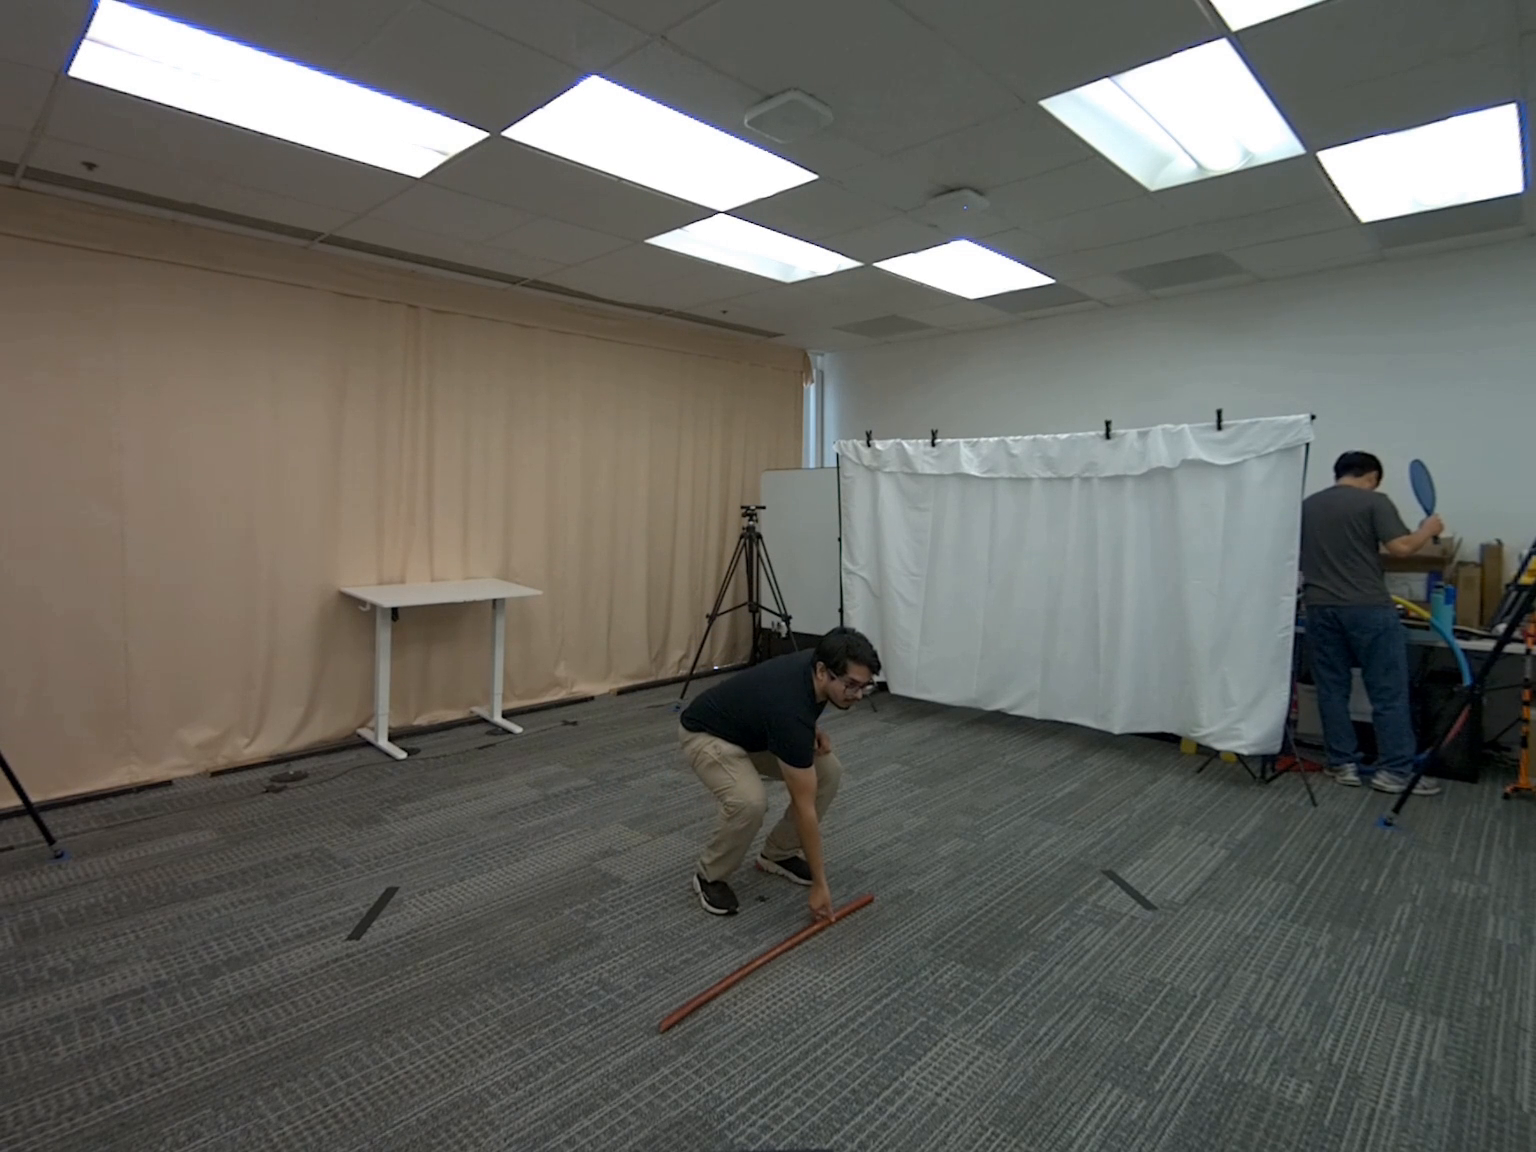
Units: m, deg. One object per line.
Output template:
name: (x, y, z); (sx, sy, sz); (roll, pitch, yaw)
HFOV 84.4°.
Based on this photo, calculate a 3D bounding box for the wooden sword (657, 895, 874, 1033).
wooden sword: (0.033, 1.152, 2.613); (0.053, 0.024, 0.994); (-1, 4, 40)
